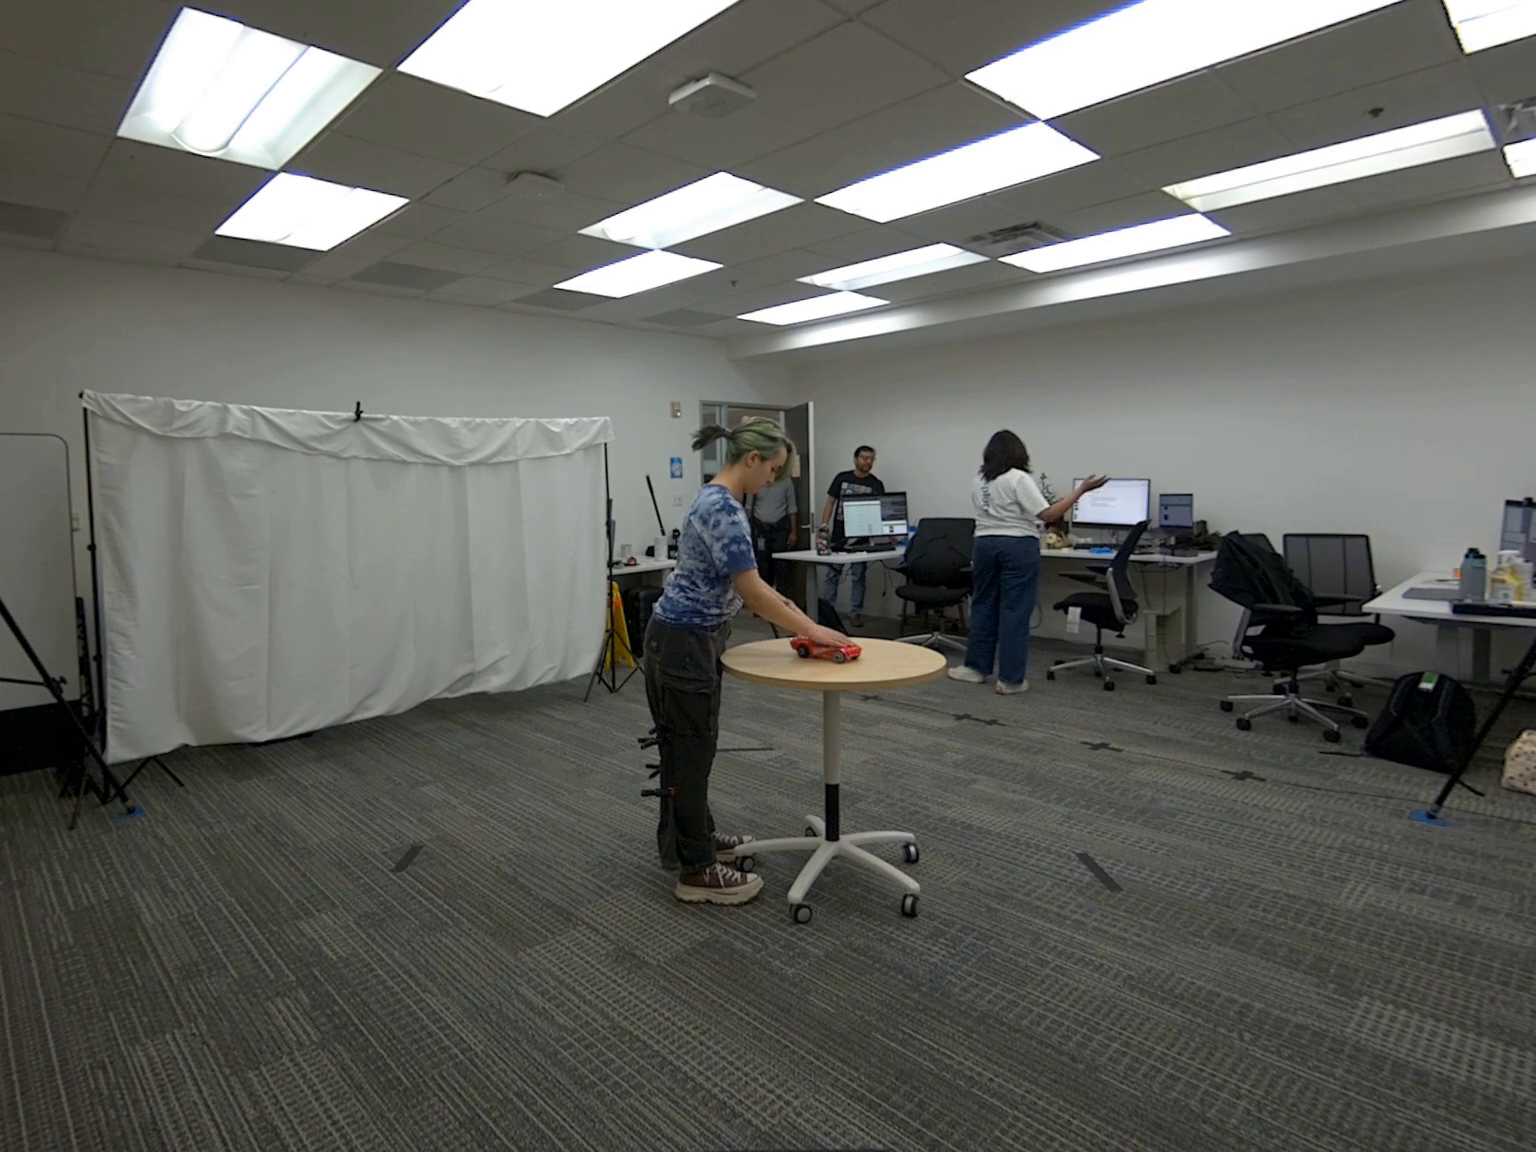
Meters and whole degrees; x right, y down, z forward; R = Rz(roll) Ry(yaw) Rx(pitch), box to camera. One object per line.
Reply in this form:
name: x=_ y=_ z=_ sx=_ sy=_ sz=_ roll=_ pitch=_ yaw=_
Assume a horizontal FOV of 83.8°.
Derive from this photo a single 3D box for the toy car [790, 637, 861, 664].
toy car: x=0.189 y=0.248 z=2.926 sx=0.263 sy=0.082 sz=0.127 roll=17 pitch=14 yaw=37
